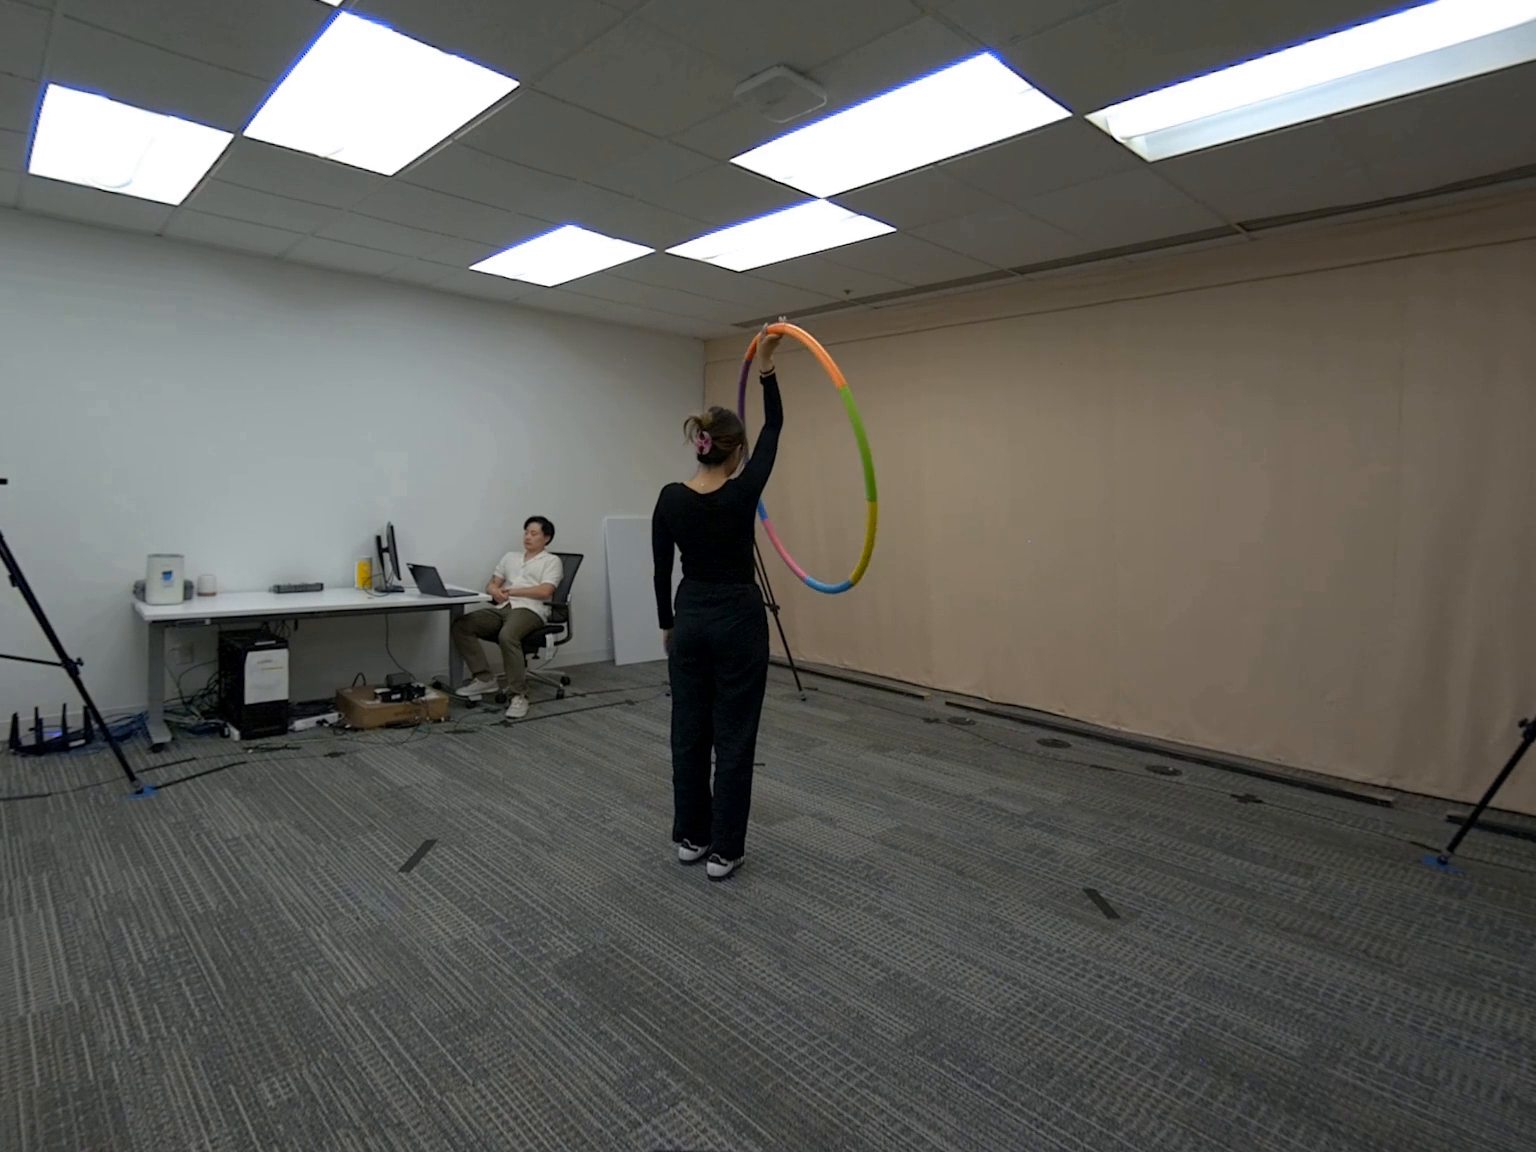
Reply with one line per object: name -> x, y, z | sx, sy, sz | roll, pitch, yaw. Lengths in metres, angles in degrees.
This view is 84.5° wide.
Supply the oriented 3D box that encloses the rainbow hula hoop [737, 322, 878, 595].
rainbow hula hoop -> 0.104, -0.417, 3.065 | 0.051, 0.977, 1.005 | -15, 10, -23
